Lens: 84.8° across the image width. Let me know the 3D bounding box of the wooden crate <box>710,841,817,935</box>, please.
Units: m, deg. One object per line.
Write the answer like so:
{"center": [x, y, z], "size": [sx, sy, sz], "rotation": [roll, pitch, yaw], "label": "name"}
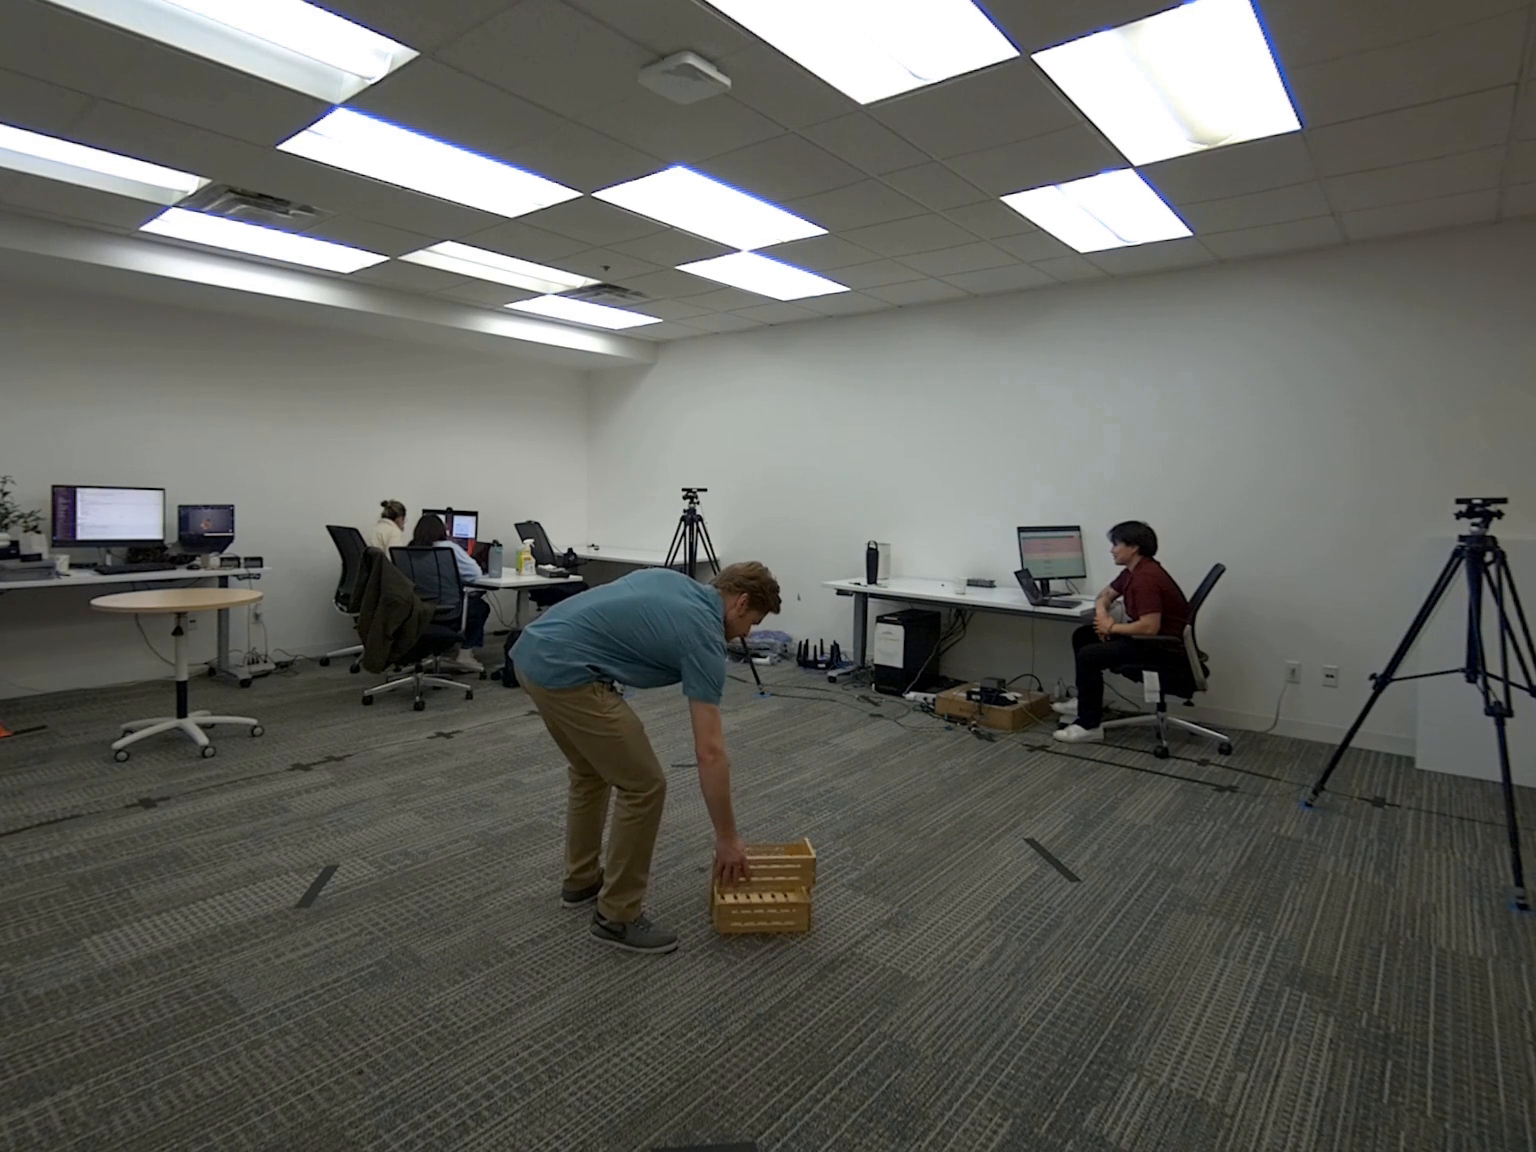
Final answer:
{"center": [-0.029, 0.977, 2.759], "size": [0.322, 0.272, 0.305], "rotation": [2, 4, -7], "label": "wooden crate"}
